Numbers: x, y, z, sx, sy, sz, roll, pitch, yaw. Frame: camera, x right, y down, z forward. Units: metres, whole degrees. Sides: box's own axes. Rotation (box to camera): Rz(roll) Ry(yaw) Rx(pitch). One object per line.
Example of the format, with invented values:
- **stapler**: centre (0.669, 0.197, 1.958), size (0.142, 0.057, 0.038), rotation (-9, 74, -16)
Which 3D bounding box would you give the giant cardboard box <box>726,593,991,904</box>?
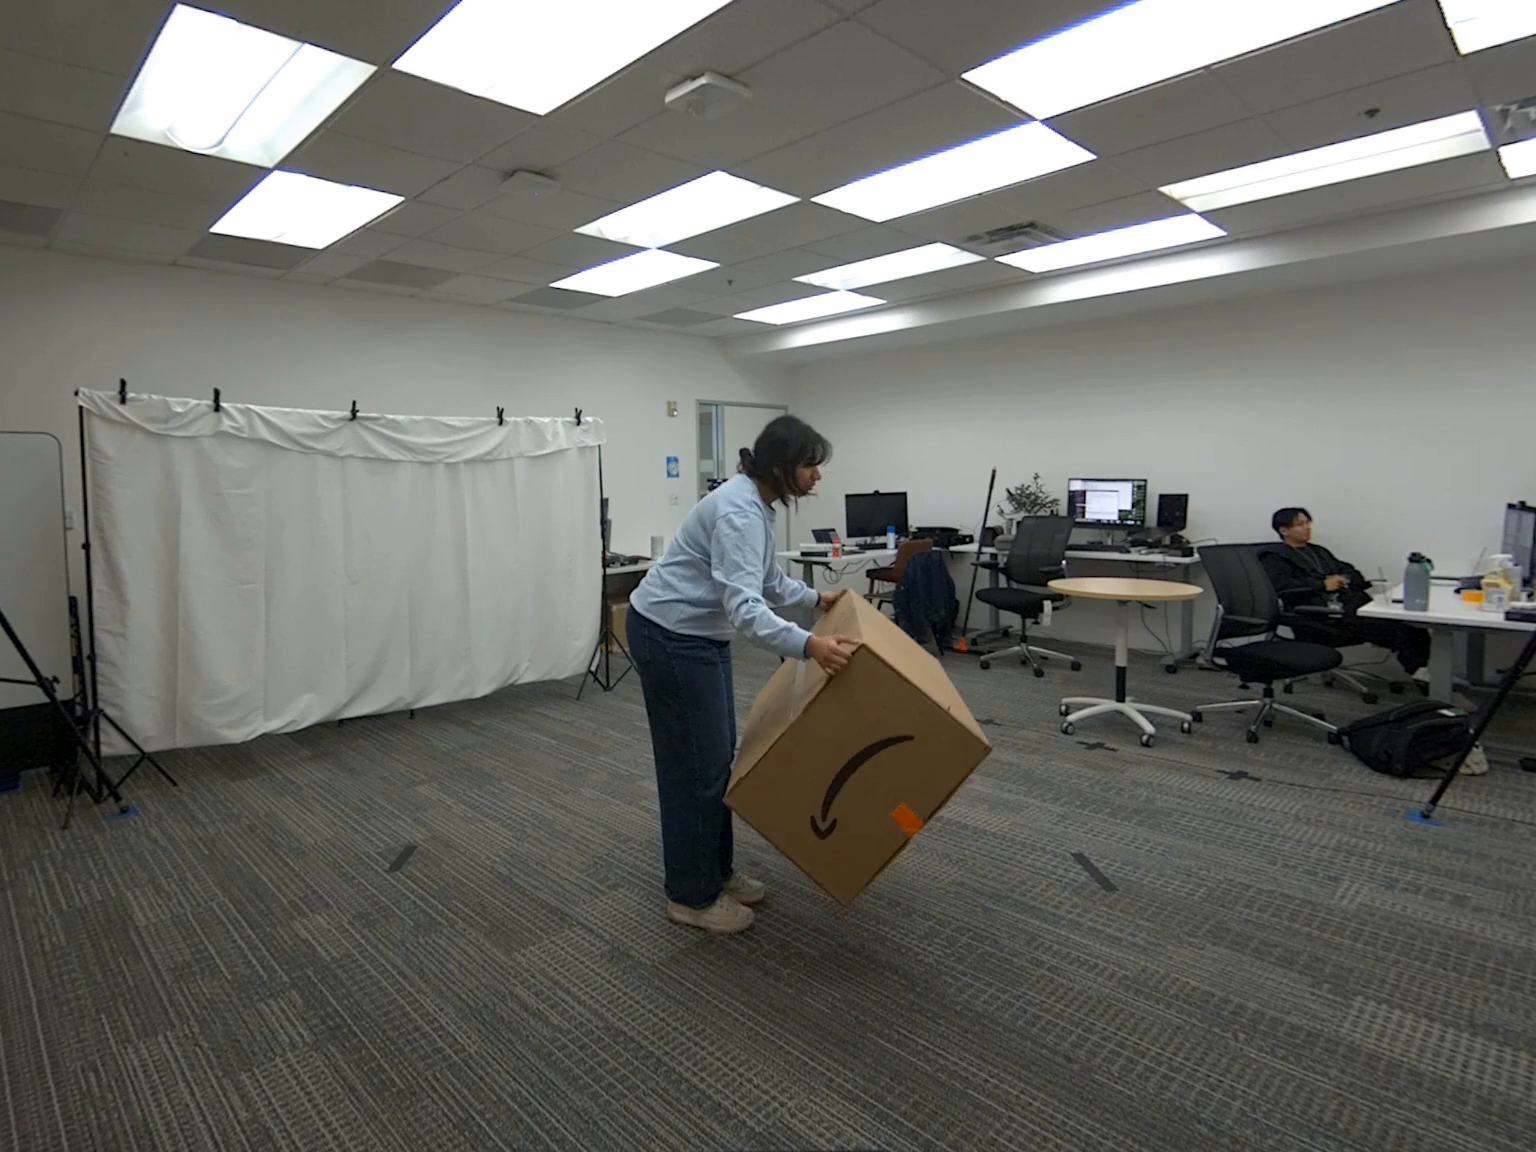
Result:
- **giant cardboard box**: centre (0.258, 0.455, 2.703), size (0.427, 0.577, 1.025), rotation (41, 8, -1)
